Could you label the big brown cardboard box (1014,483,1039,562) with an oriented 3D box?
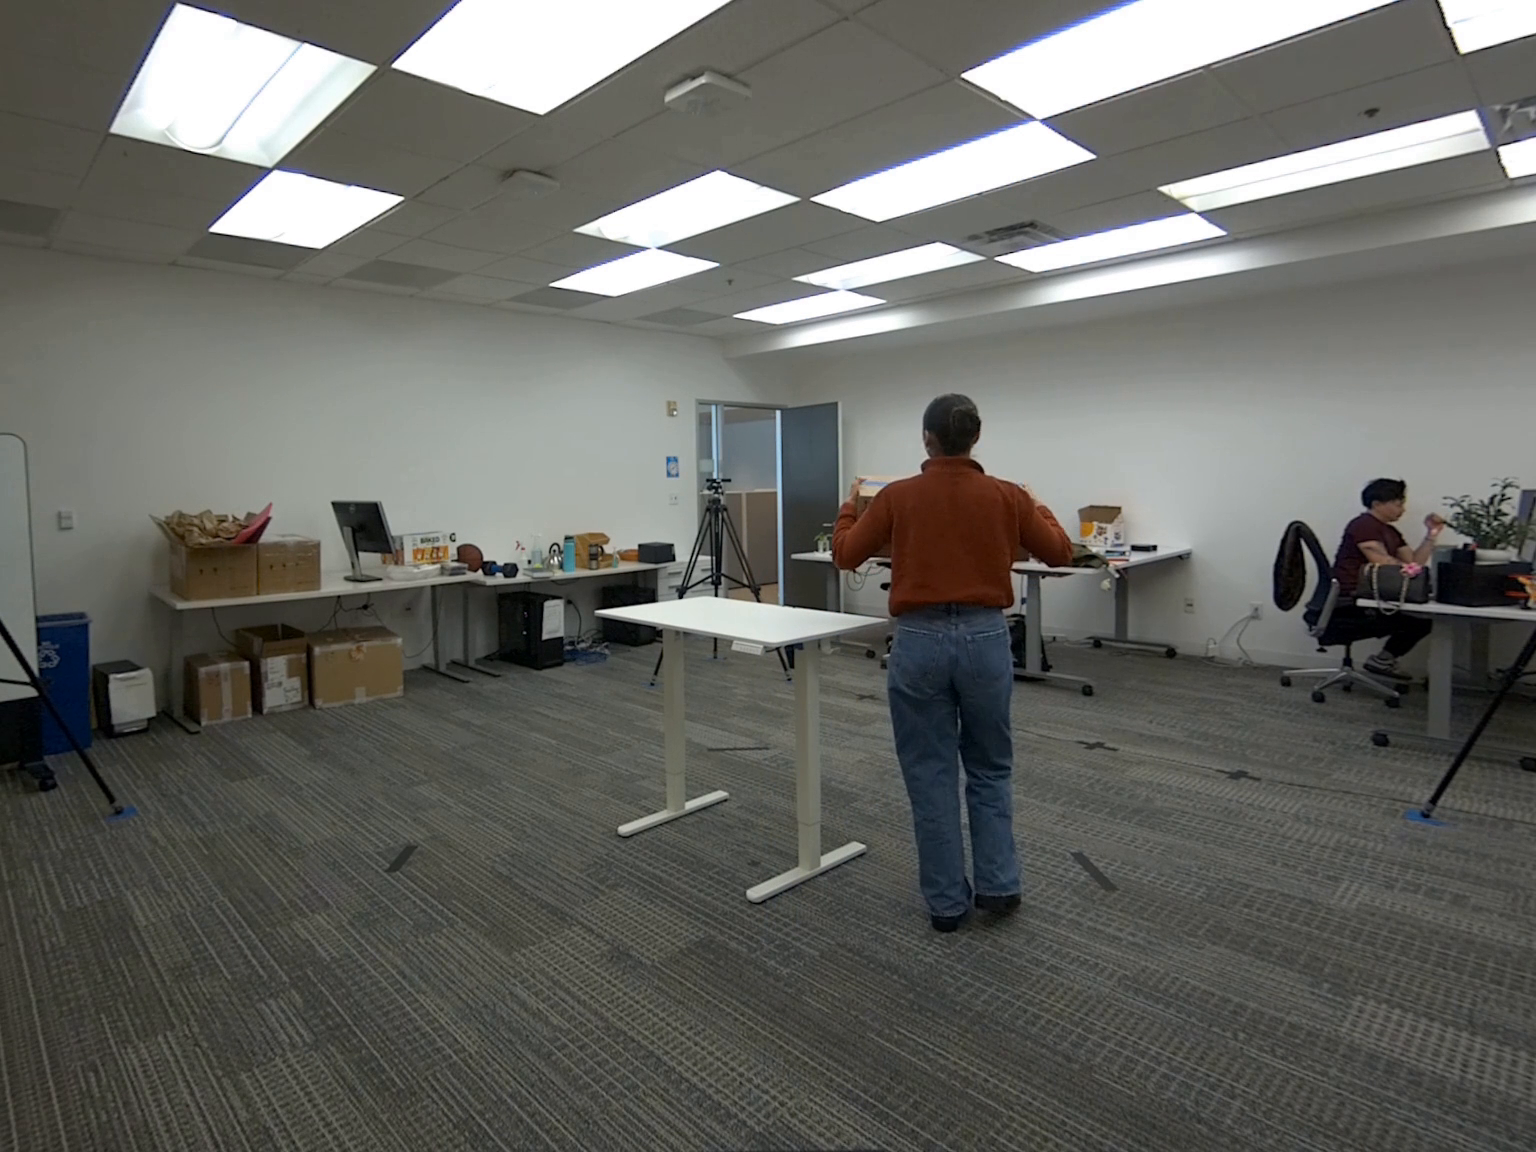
[{"bbox_3d":[0.617,-0.217,3.005,0.591,0.230,0.422,-1,15,2],"label":"big brown cardboard box"}]
